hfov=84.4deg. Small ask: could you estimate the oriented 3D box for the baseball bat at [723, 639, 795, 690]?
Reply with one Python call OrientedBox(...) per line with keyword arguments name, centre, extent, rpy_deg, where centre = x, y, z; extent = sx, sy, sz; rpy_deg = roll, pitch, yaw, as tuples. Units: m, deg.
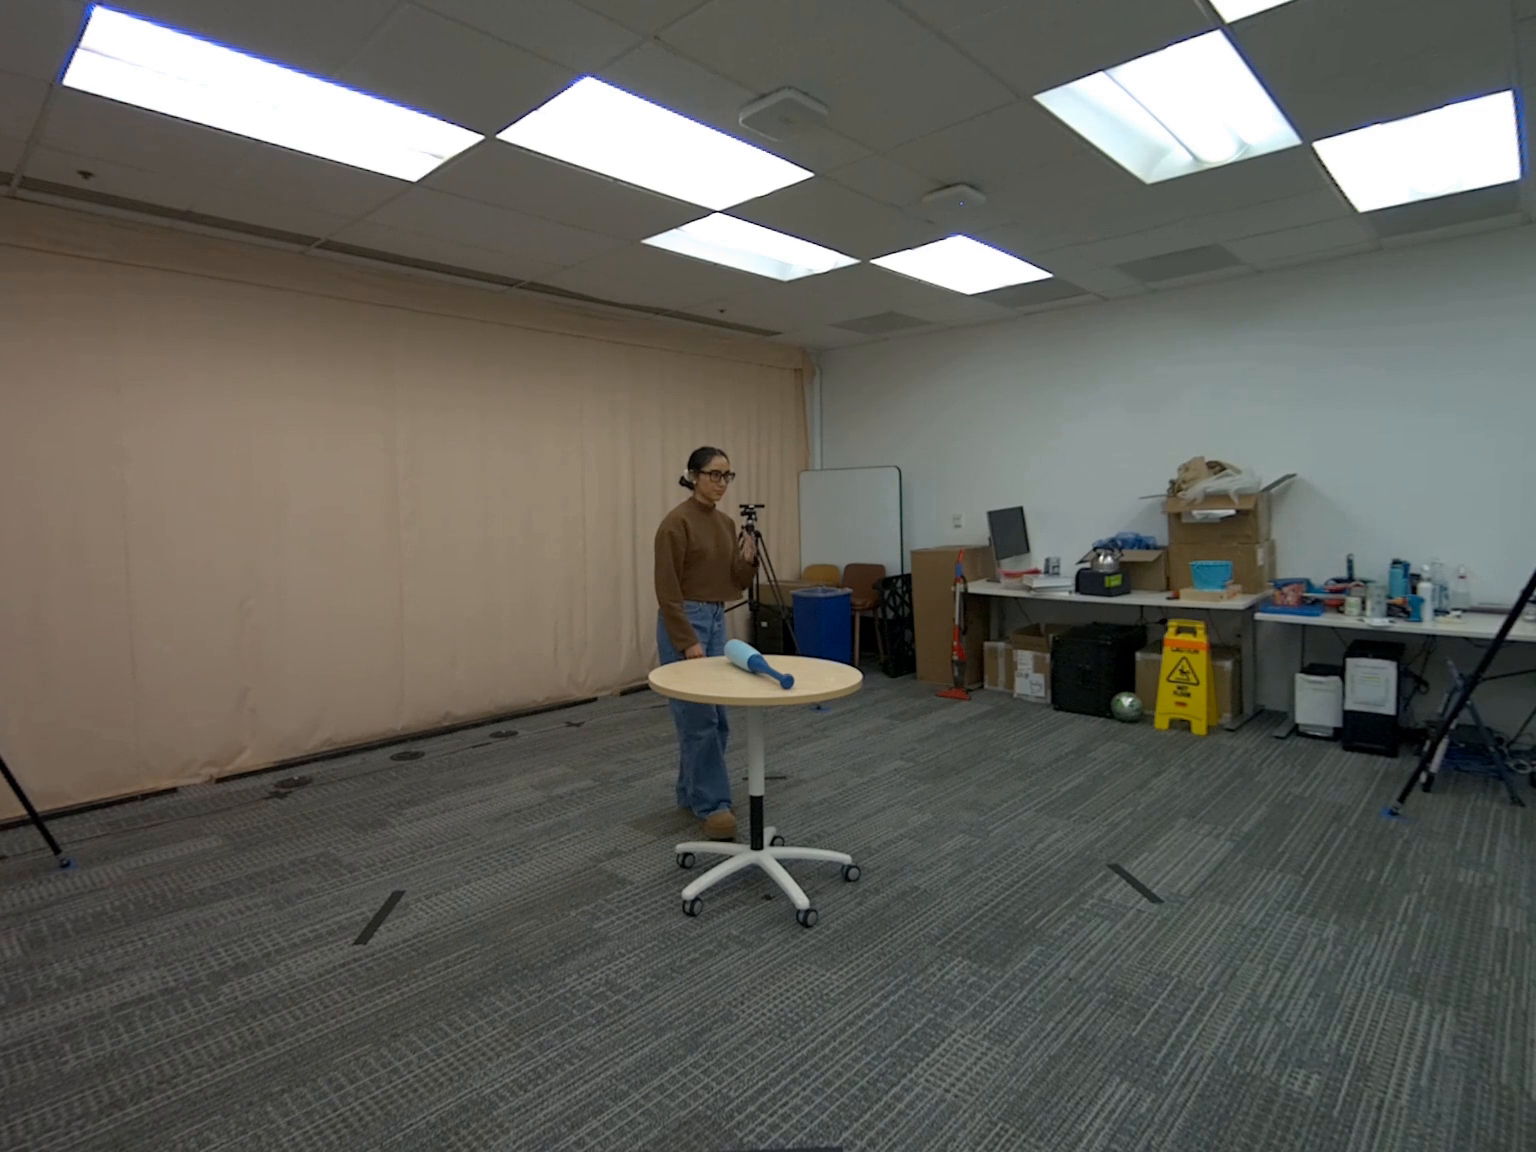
OrientedBox(name="baseball bat", centre=(-0.031, 0.319, 3.019), extent=(0.087, 0.089, 0.556), rpy_deg=(-2, 8, -21))
